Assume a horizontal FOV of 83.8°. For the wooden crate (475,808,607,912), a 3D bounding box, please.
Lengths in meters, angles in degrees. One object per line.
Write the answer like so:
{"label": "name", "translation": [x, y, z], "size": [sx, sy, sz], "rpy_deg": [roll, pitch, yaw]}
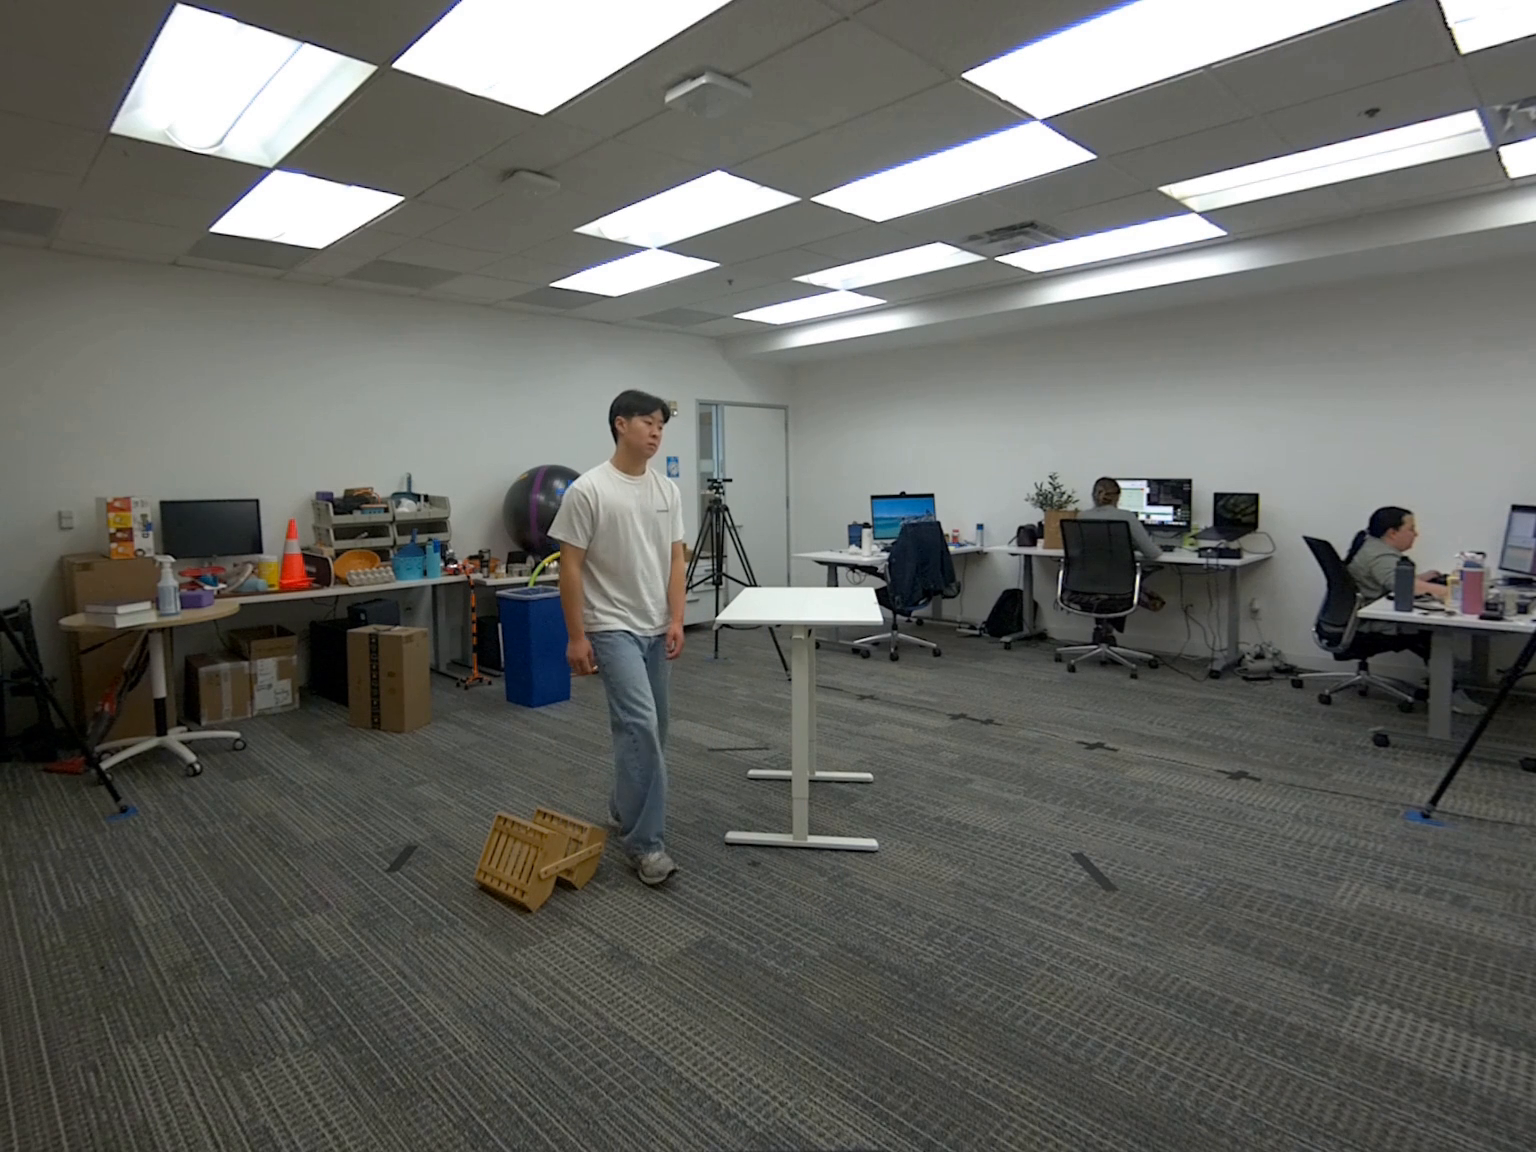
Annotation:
{"label": "wooden crate", "translation": [-0.792, 0.985, 2.990], "size": [0.334, 0.305, 0.263], "rpy_deg": [3, -21, 39]}
